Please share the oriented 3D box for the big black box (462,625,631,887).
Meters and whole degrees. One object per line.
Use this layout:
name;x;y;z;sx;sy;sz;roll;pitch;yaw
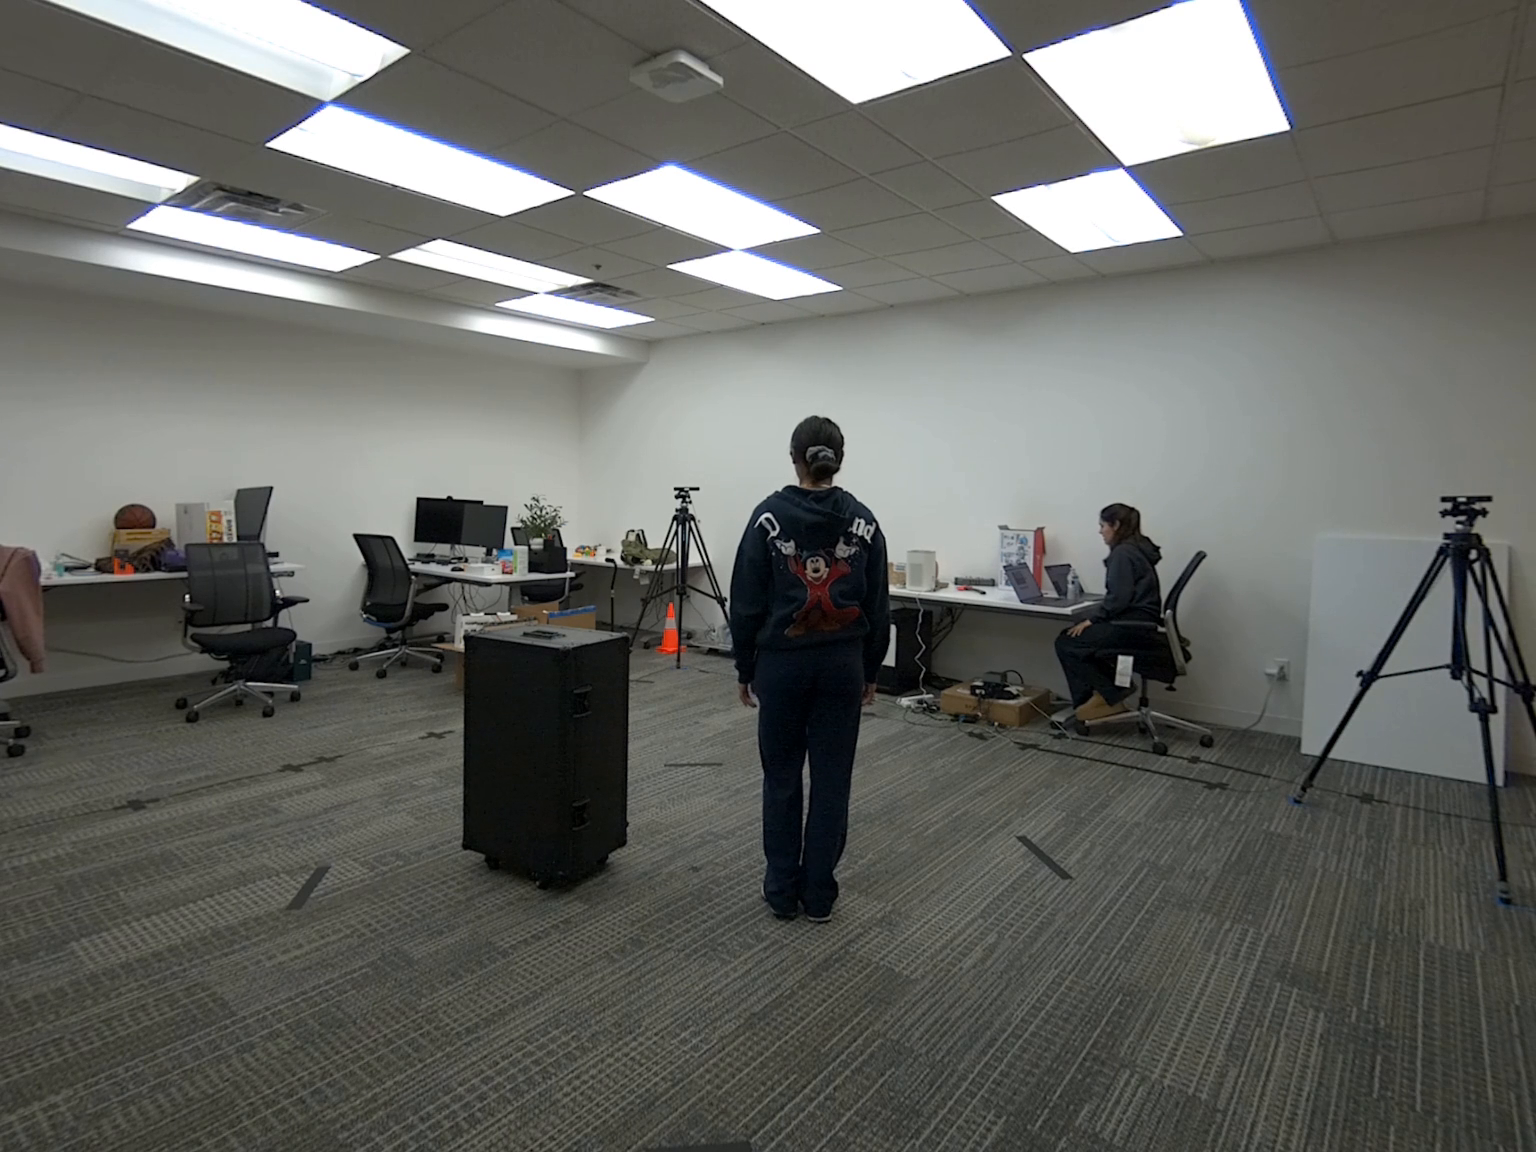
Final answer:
big black box;-0.820;0.633;3.109;0.536;0.860;0.386;3;2;29
